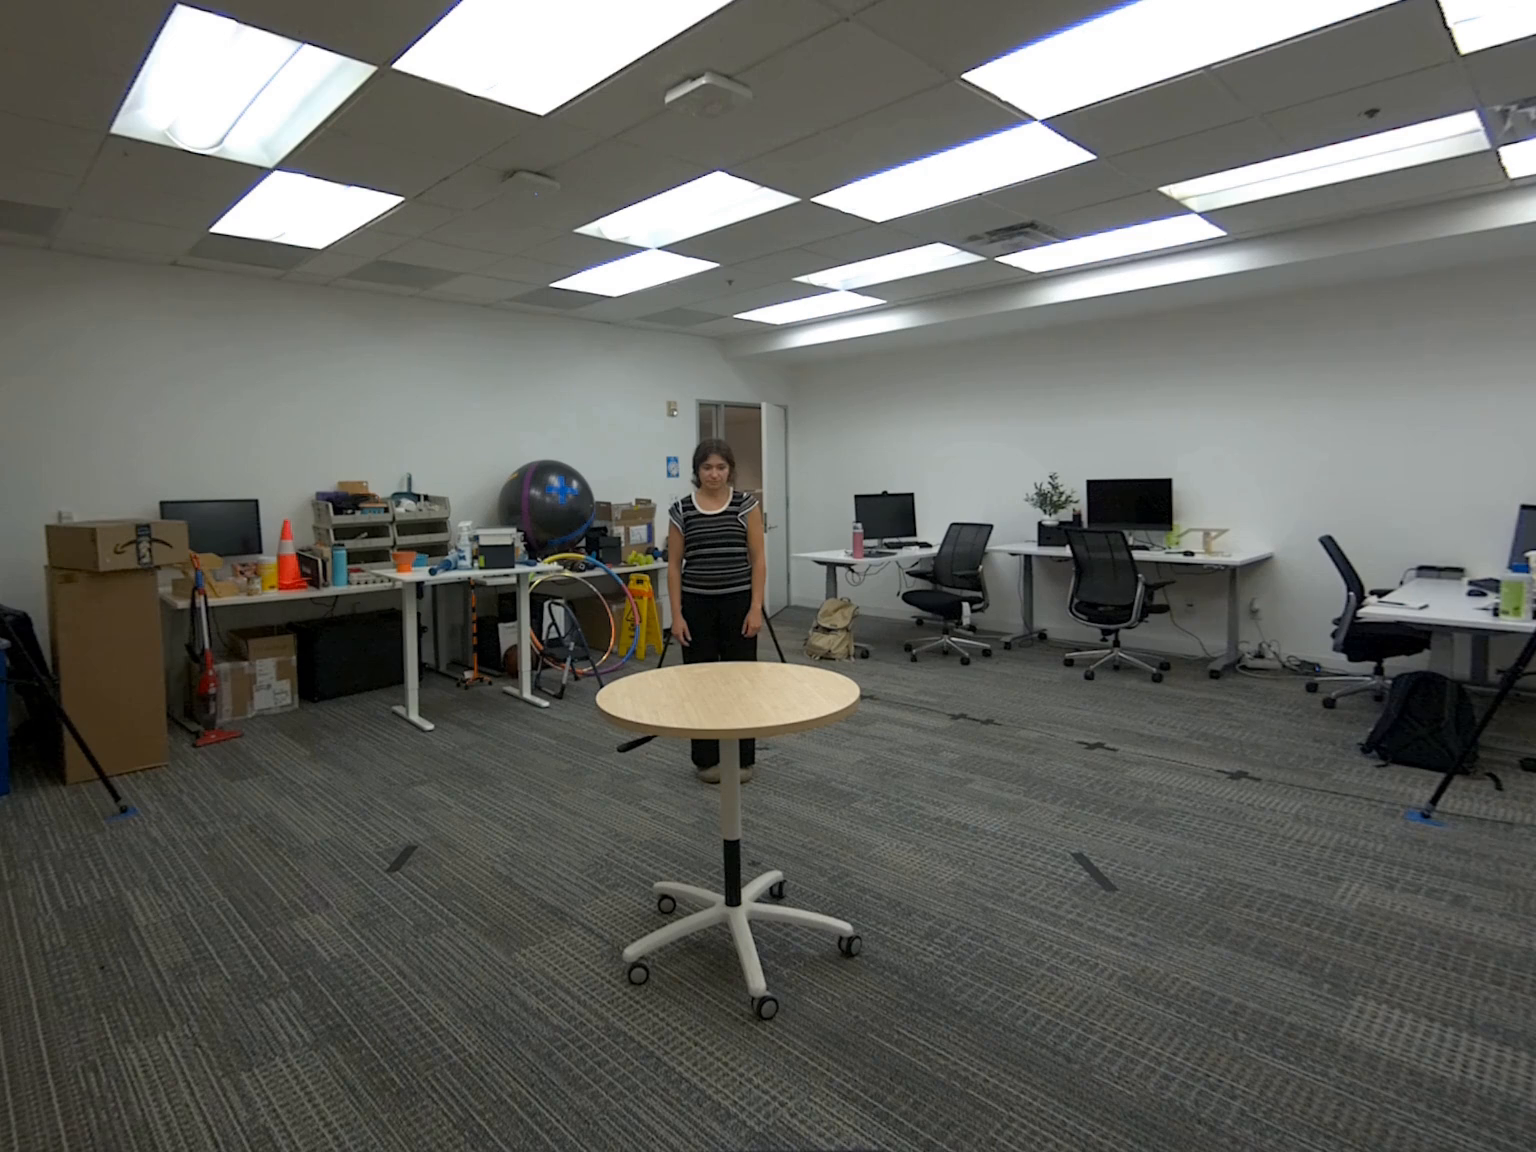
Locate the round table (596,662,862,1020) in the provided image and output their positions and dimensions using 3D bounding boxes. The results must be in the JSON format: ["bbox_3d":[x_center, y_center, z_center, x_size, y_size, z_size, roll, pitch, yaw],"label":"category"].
[{"bbox_3d":[-0.120,0.724,2.522,0.784,0.783,0.789,-1,5,-2],"label":"round table"}]
